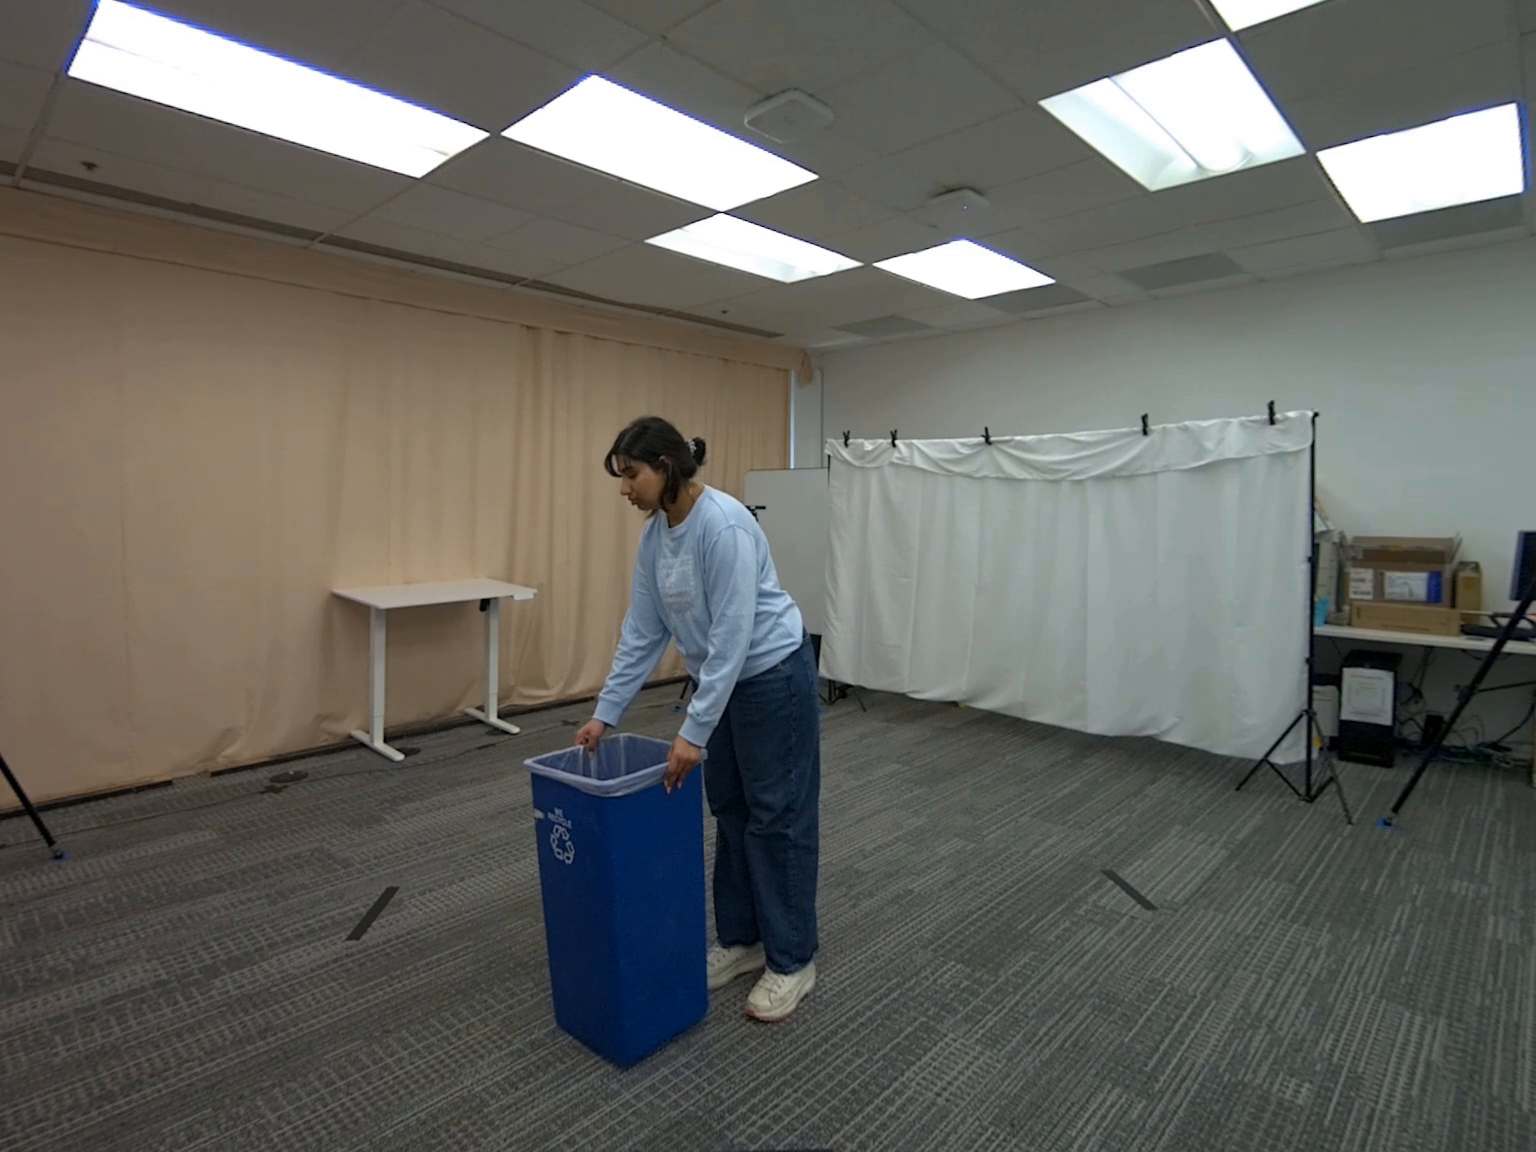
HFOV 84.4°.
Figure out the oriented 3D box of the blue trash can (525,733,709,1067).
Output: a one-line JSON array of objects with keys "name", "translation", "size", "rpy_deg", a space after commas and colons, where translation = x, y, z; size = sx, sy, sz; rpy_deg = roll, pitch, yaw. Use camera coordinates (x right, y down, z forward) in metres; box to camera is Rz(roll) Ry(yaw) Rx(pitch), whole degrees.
[{"name": "blue trash can", "translation": [-0.388, 0.836, 2.262], "size": [0.386, 0.713, 0.367], "rpy_deg": [-2, 3, 42]}]
